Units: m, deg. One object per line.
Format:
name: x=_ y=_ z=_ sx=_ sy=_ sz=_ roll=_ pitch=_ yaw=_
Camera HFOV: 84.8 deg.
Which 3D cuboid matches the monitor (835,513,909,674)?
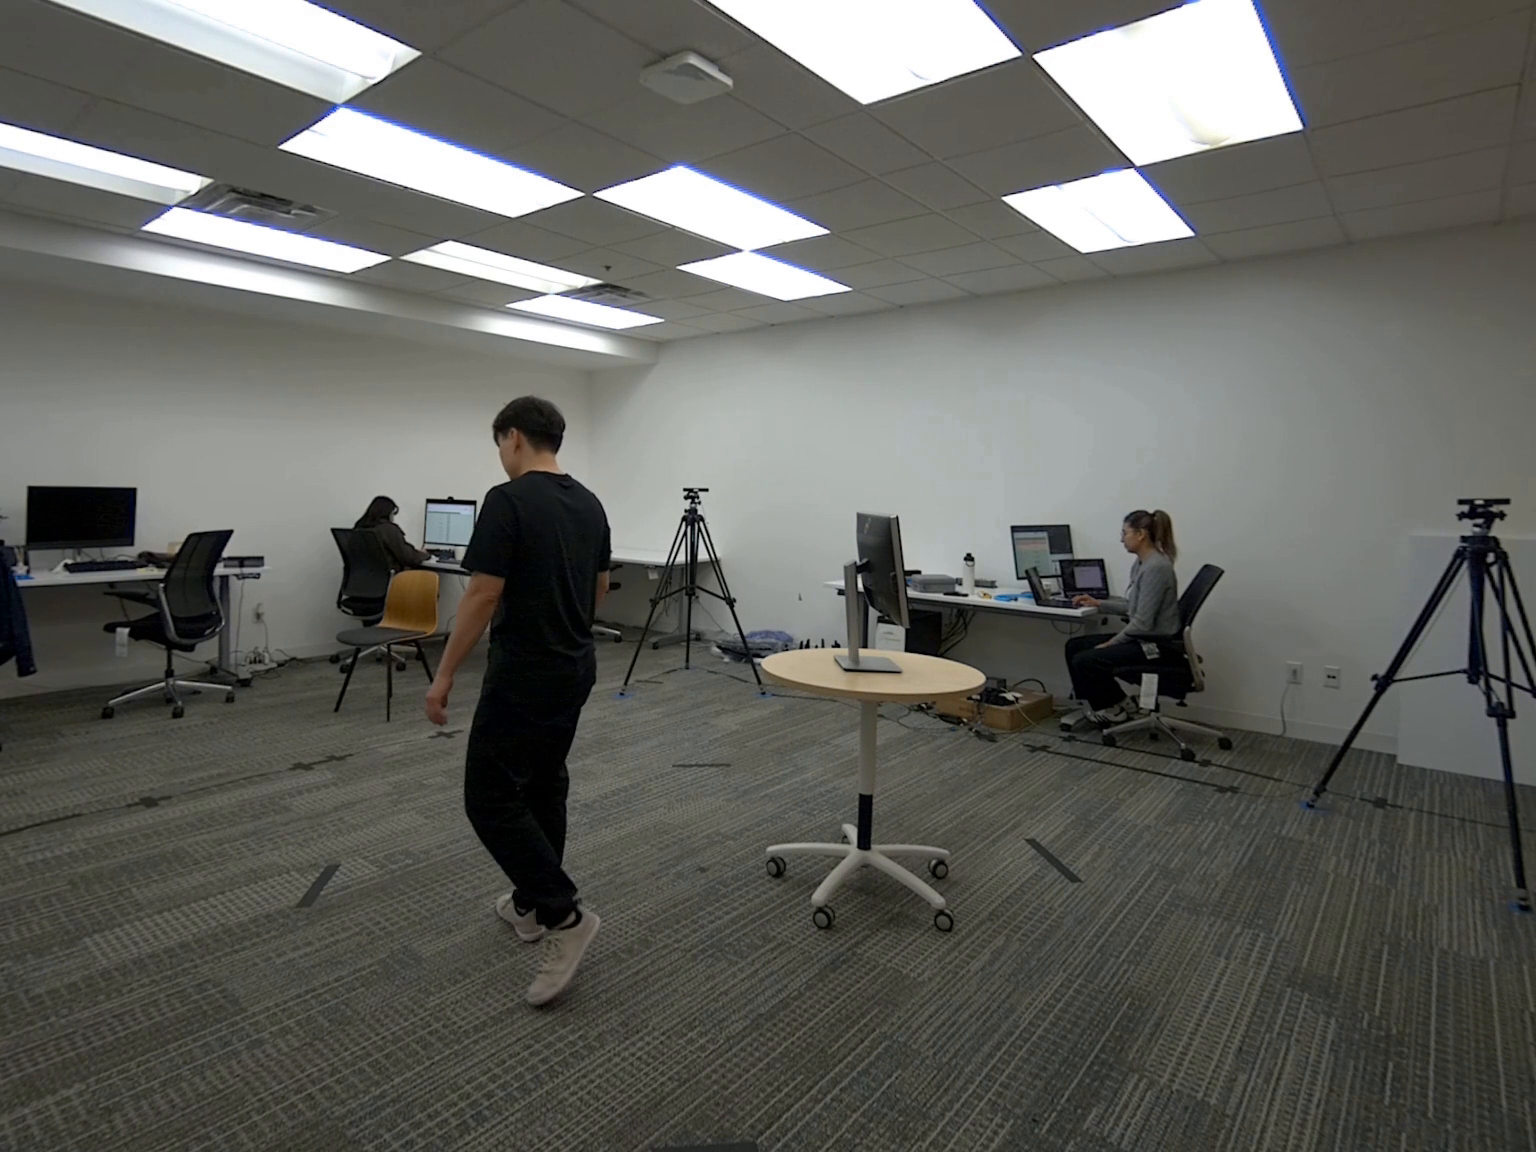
monitor: x=0.347 y=0.051 z=2.995 sx=0.186 sy=0.521 sz=0.544 roll=3 pitch=4 yaw=-7
